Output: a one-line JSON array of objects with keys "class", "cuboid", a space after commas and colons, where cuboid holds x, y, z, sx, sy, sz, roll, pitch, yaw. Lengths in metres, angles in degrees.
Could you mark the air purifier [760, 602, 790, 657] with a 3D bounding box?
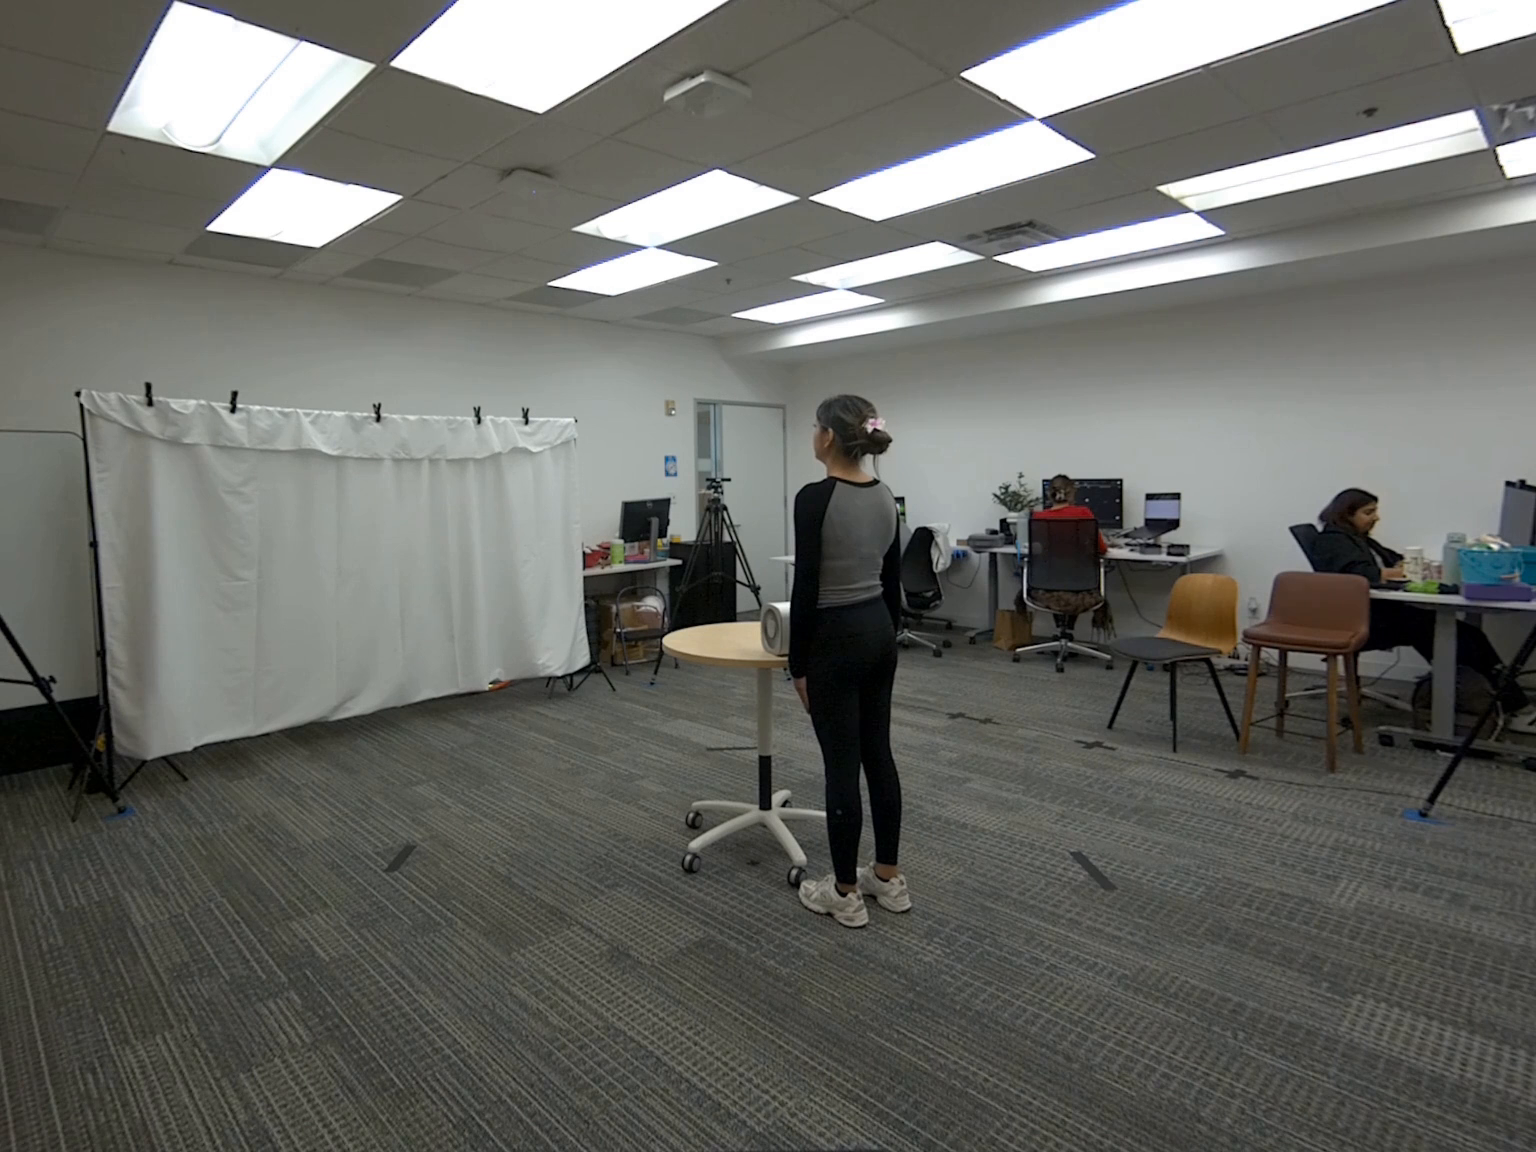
[{"class": "air purifier", "cuboid": [0.134, 0.173, 2.976, 0.260, 0.171, 0.175, -2, 5, -22]}]
